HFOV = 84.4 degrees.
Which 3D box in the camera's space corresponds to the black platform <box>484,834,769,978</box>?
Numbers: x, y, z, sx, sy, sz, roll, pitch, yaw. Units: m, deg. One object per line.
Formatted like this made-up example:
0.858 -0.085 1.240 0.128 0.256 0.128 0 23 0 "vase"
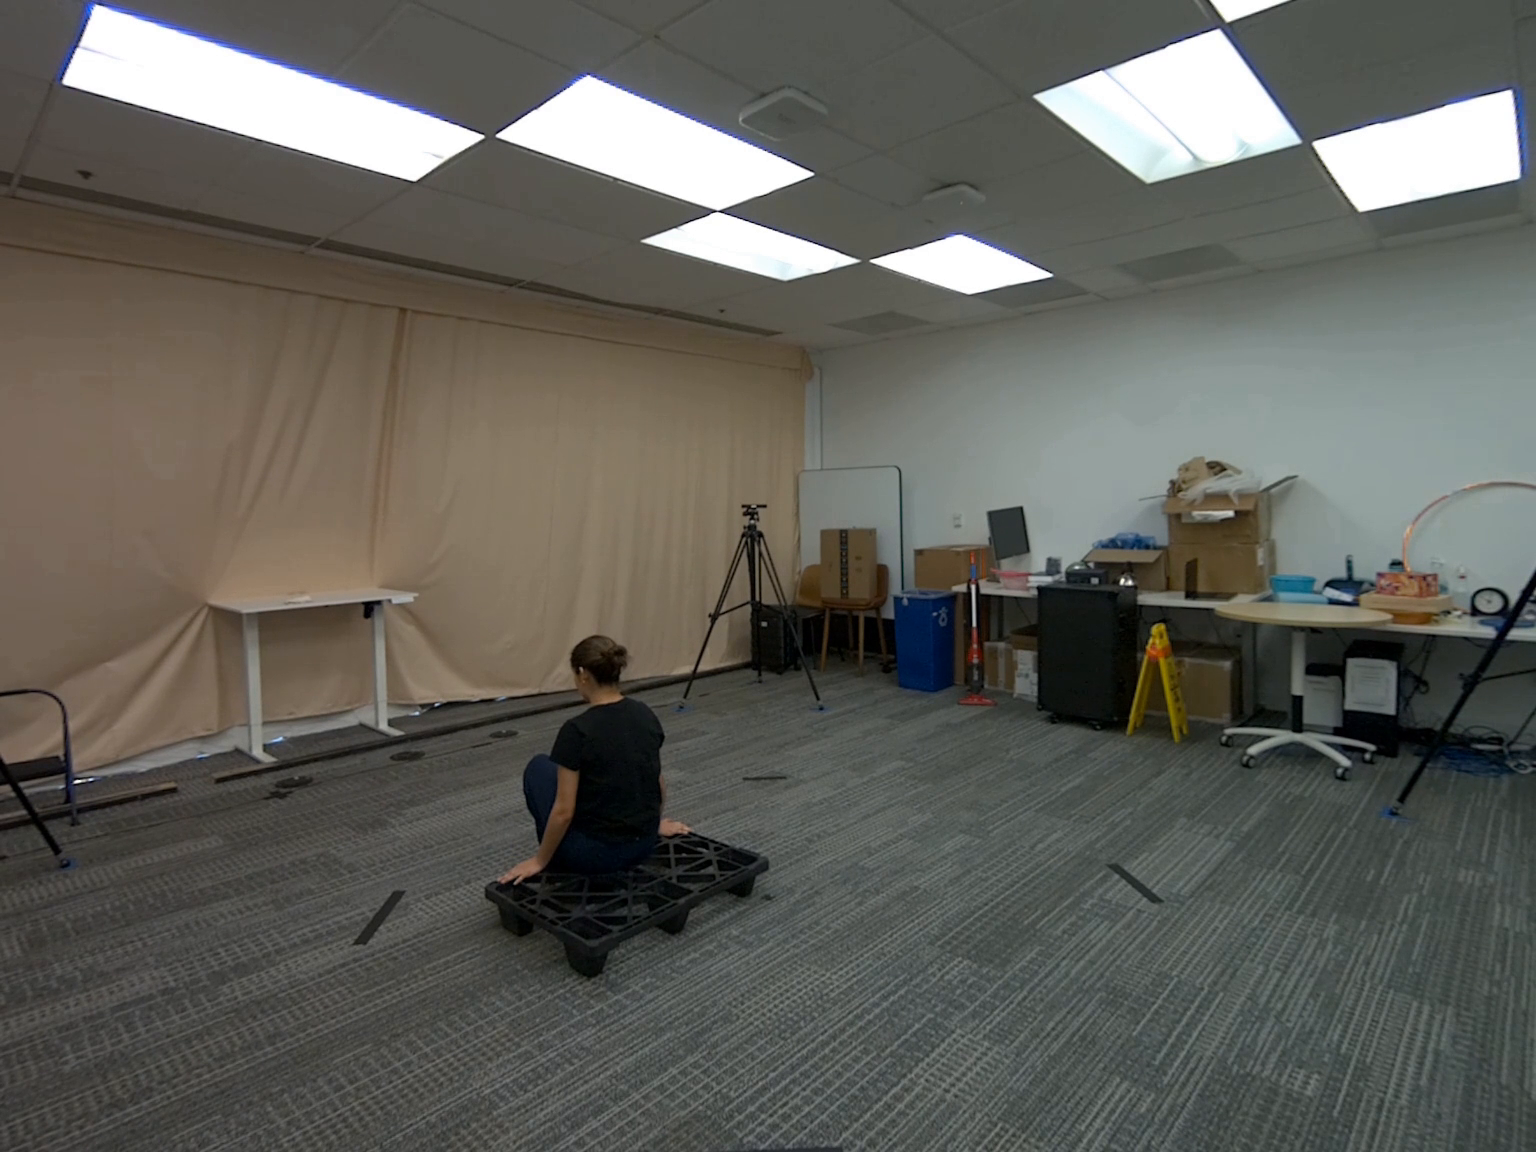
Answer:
-0.447 1.089 2.907 0.625 0.143 0.781 4 7 42 "black platform"
